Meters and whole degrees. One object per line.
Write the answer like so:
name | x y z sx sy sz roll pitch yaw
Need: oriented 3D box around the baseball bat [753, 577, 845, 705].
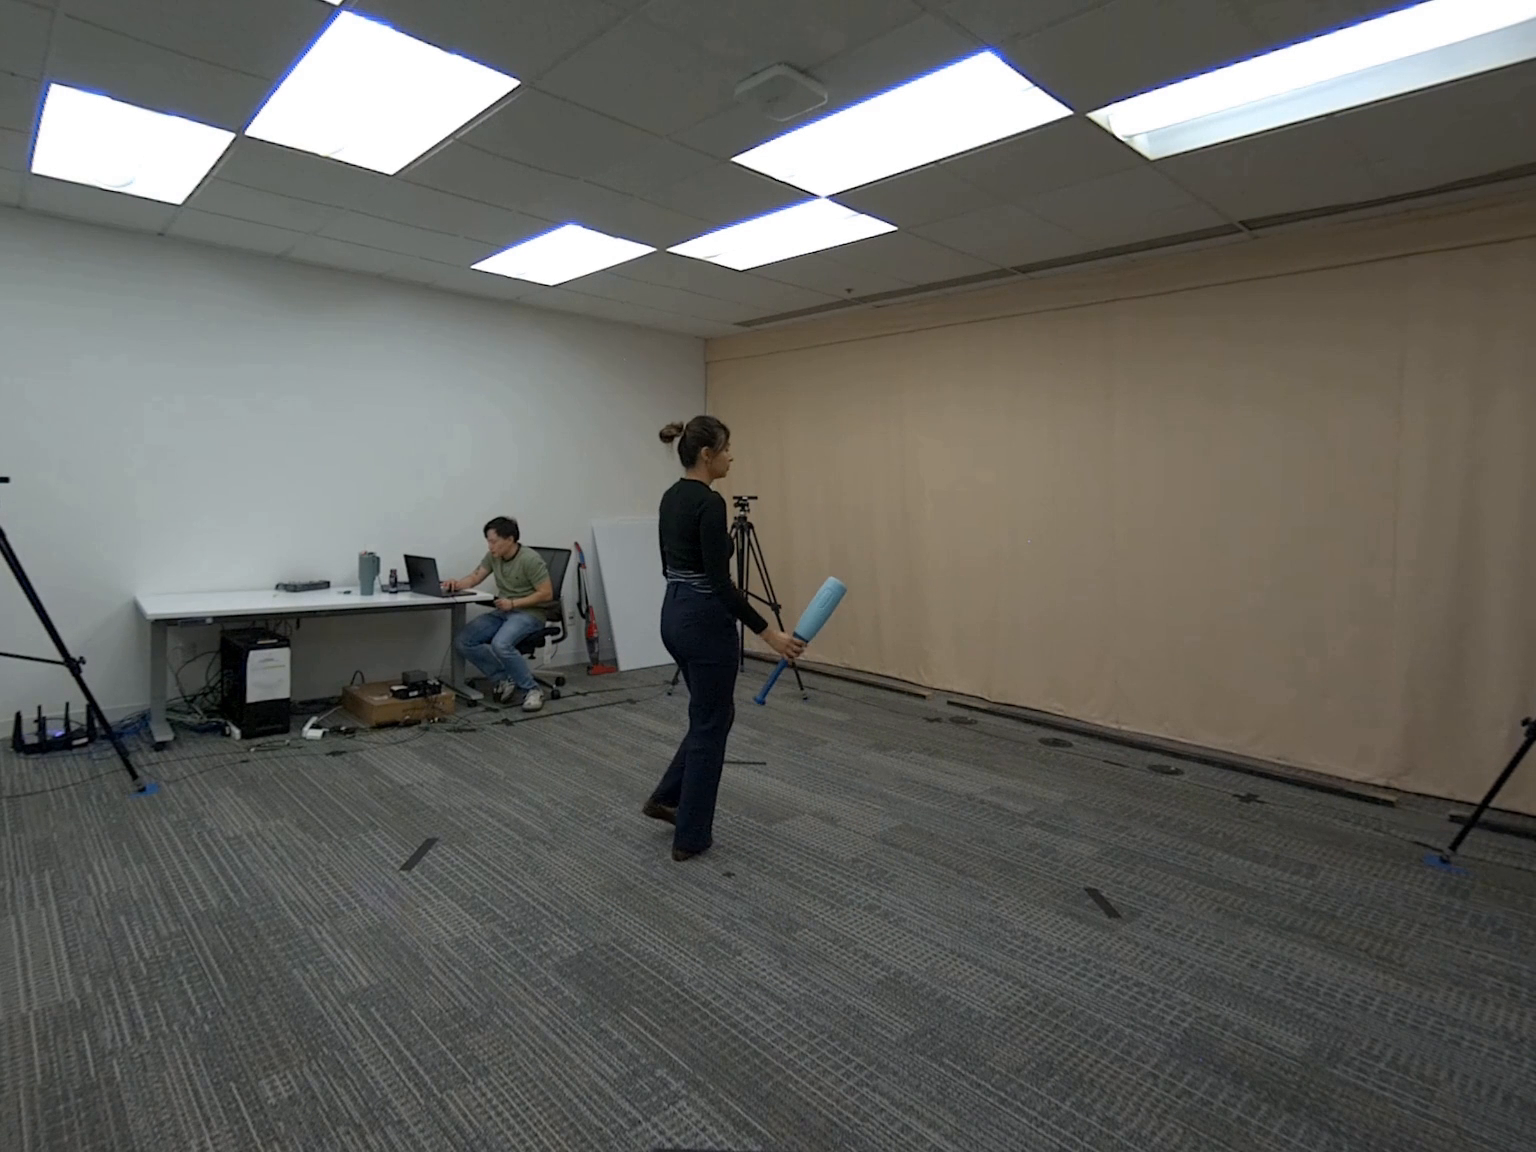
baseball bat | 0.109 0.211 3.132 0.089 0.543 0.089 34 -4 1
